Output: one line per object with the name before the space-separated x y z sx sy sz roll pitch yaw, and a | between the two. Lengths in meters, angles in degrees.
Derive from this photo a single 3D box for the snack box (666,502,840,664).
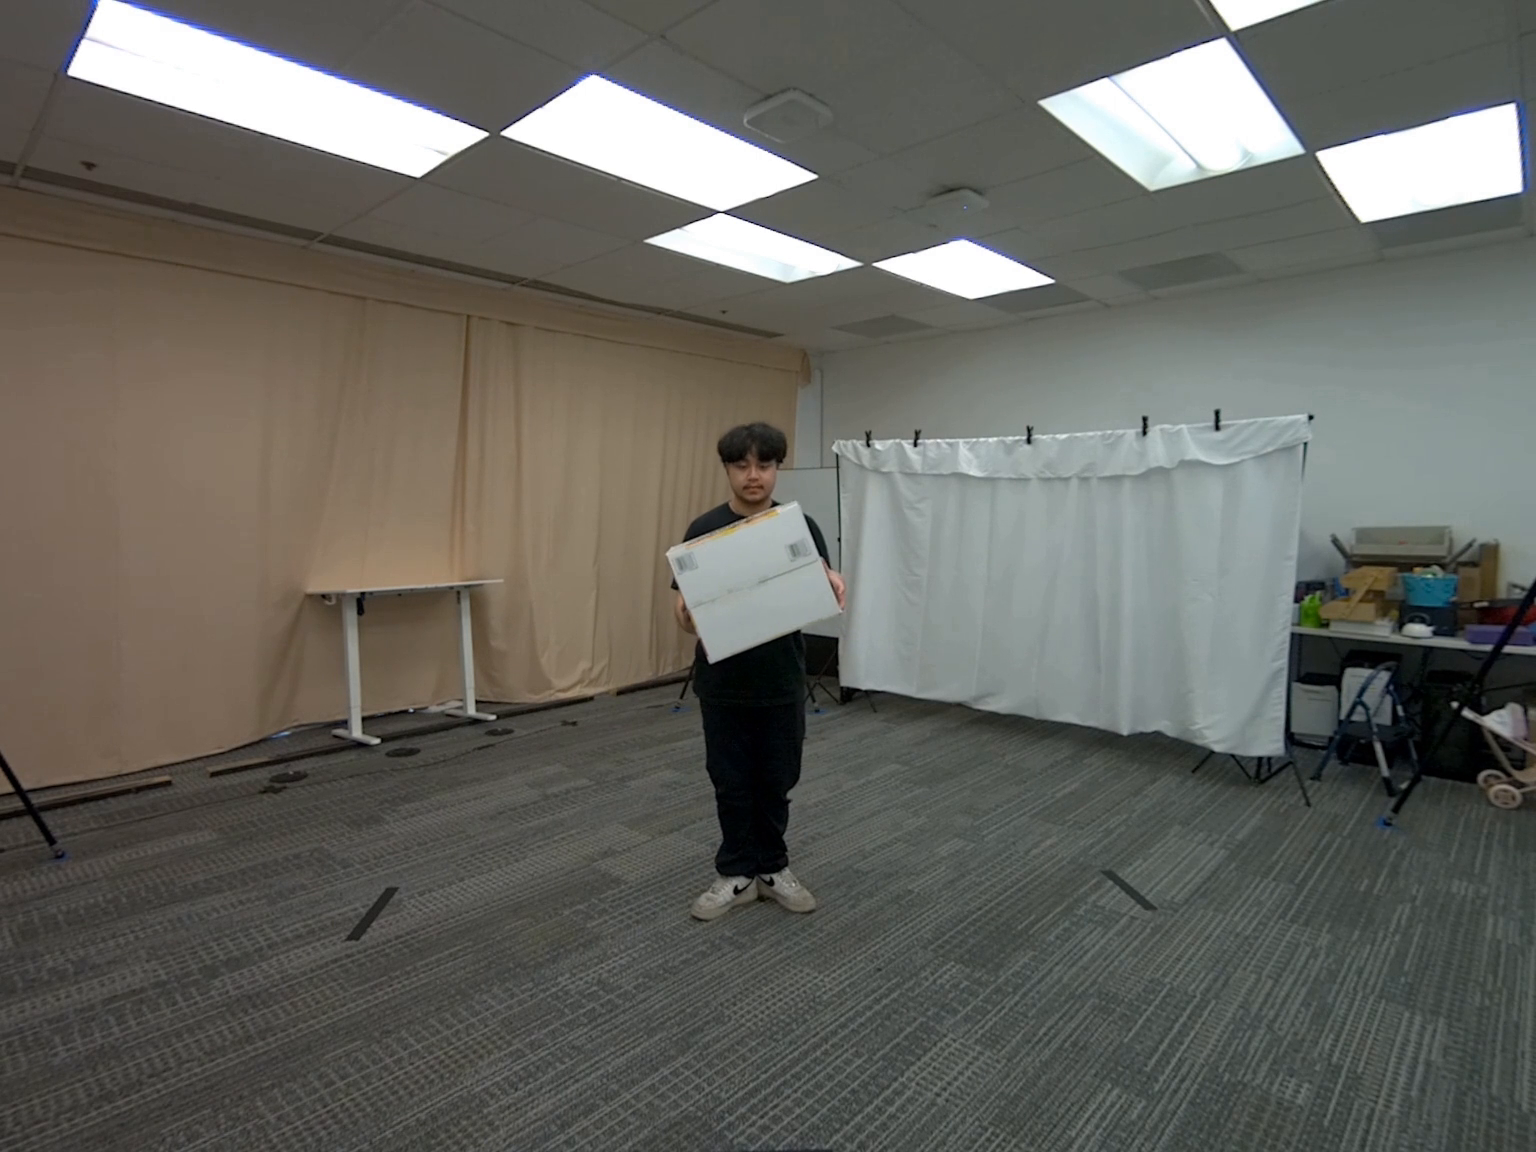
snack box | -0.041 0.009 2.466 0.406 0.339 0.206 -22 5 2
